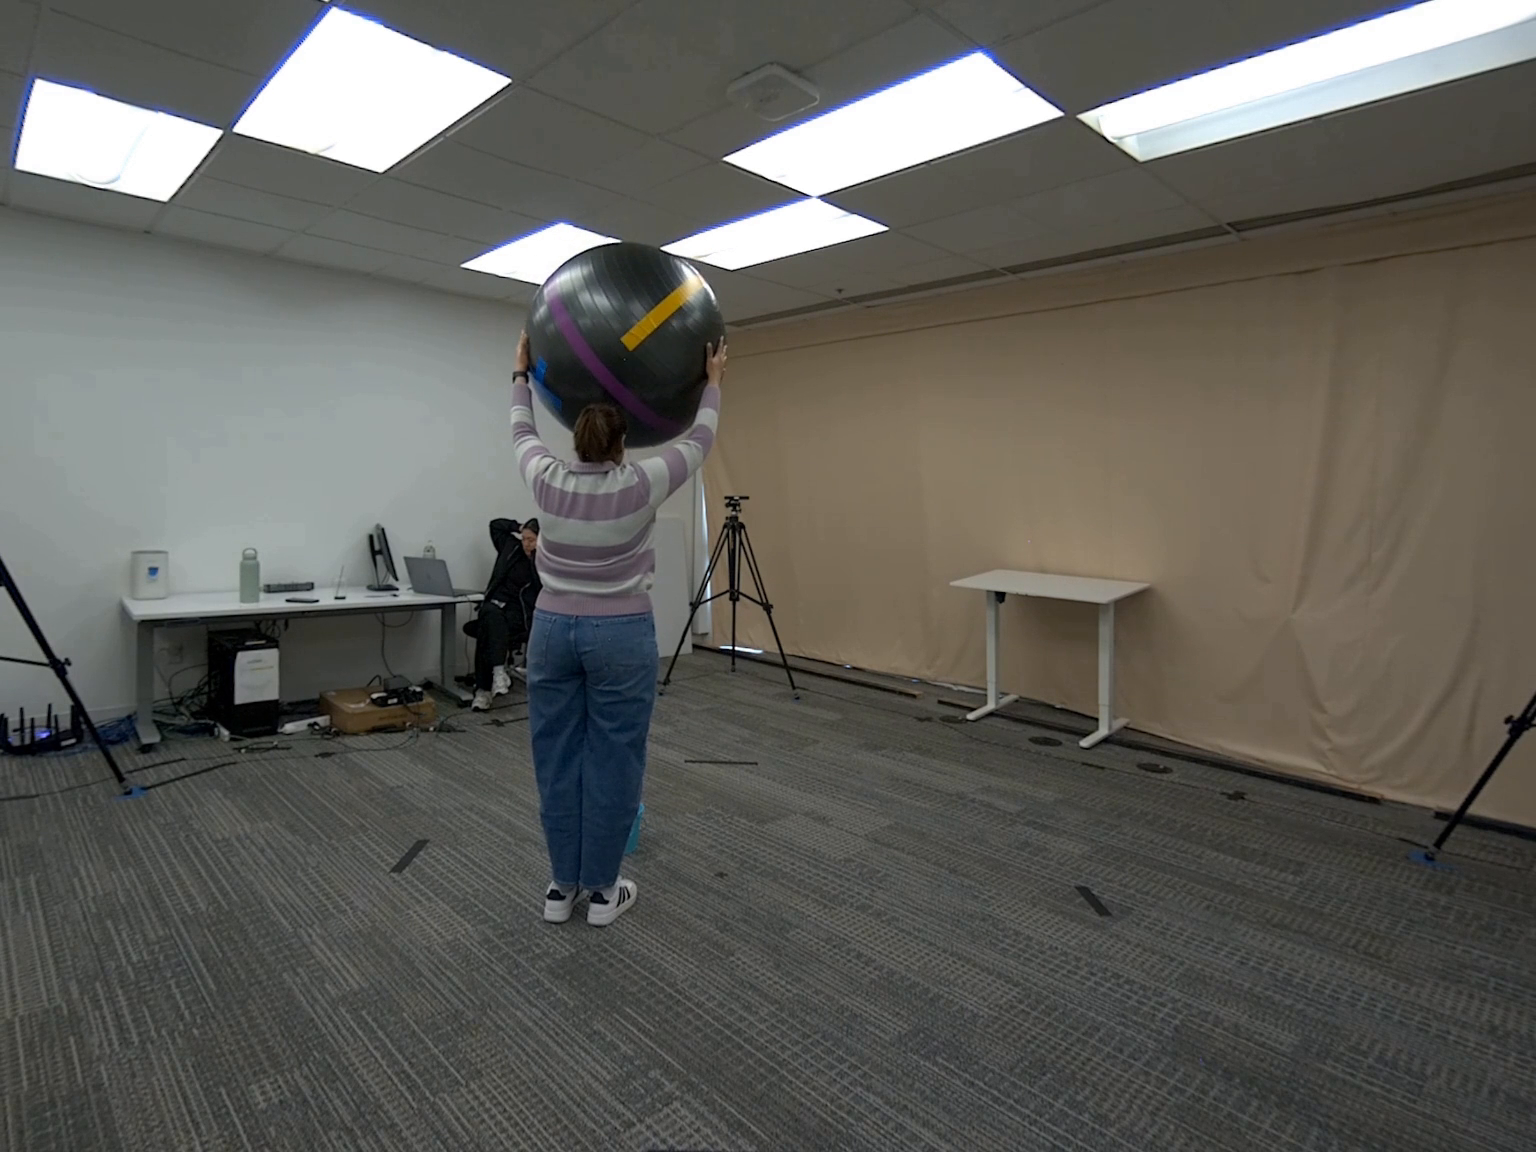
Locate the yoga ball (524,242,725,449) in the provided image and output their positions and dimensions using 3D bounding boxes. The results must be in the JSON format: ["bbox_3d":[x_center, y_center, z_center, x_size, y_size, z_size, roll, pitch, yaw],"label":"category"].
[{"bbox_3d":[-0.537,-0.855,3.167,0.757,0.756,0.761,1,4,-1],"label":"yoga ball"}]
